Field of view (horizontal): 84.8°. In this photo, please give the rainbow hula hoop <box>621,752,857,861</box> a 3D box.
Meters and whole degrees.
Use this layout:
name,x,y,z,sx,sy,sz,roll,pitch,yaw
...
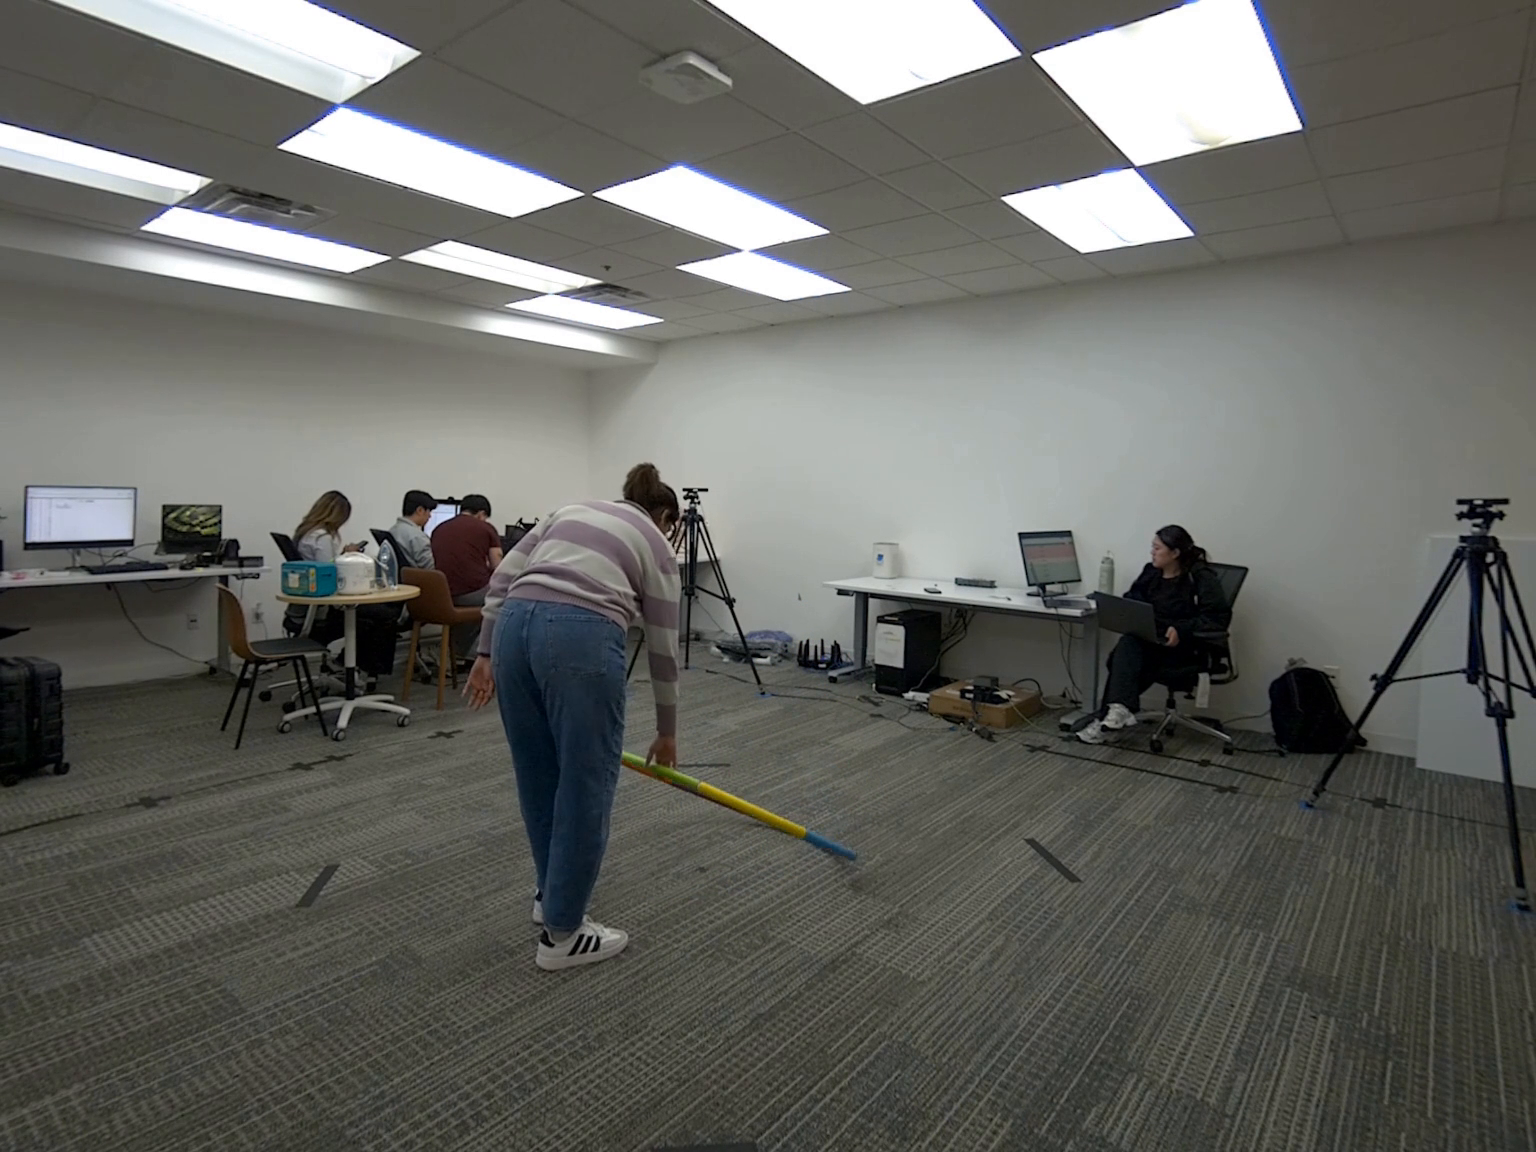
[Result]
name,x,y,z,sx,sy,sz,roll,pitch,yaw
rainbow hula hoop,-0.160,0.826,3.125,0.993,0.052,0.970,21,-16,5
